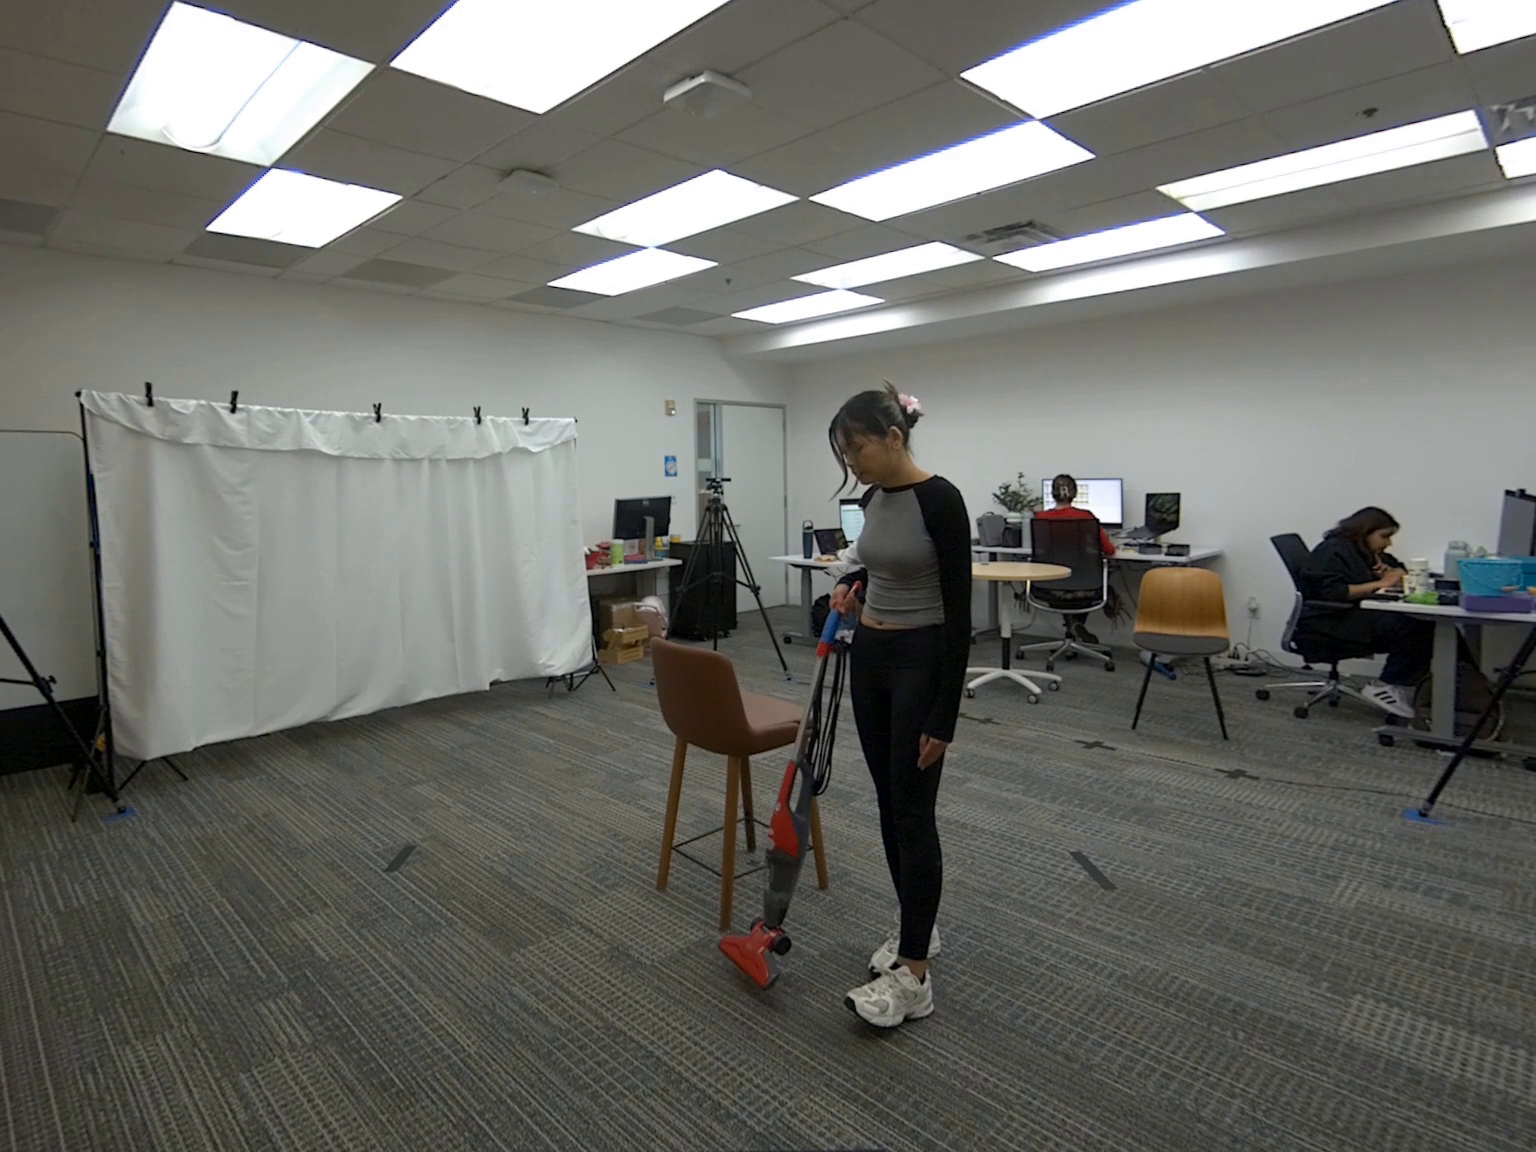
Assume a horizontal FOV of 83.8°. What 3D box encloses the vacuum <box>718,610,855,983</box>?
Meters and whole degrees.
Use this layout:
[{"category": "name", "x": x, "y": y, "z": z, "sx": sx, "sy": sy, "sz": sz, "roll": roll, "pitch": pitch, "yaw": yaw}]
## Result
[{"category": "vacuum", "x": 0.120, "y": 0.524, "z": 2.413, "sx": 0.140, "sy": 1.054, "sz": 0.259, "roll": 18, "pitch": -8, "yaw": -30}]
